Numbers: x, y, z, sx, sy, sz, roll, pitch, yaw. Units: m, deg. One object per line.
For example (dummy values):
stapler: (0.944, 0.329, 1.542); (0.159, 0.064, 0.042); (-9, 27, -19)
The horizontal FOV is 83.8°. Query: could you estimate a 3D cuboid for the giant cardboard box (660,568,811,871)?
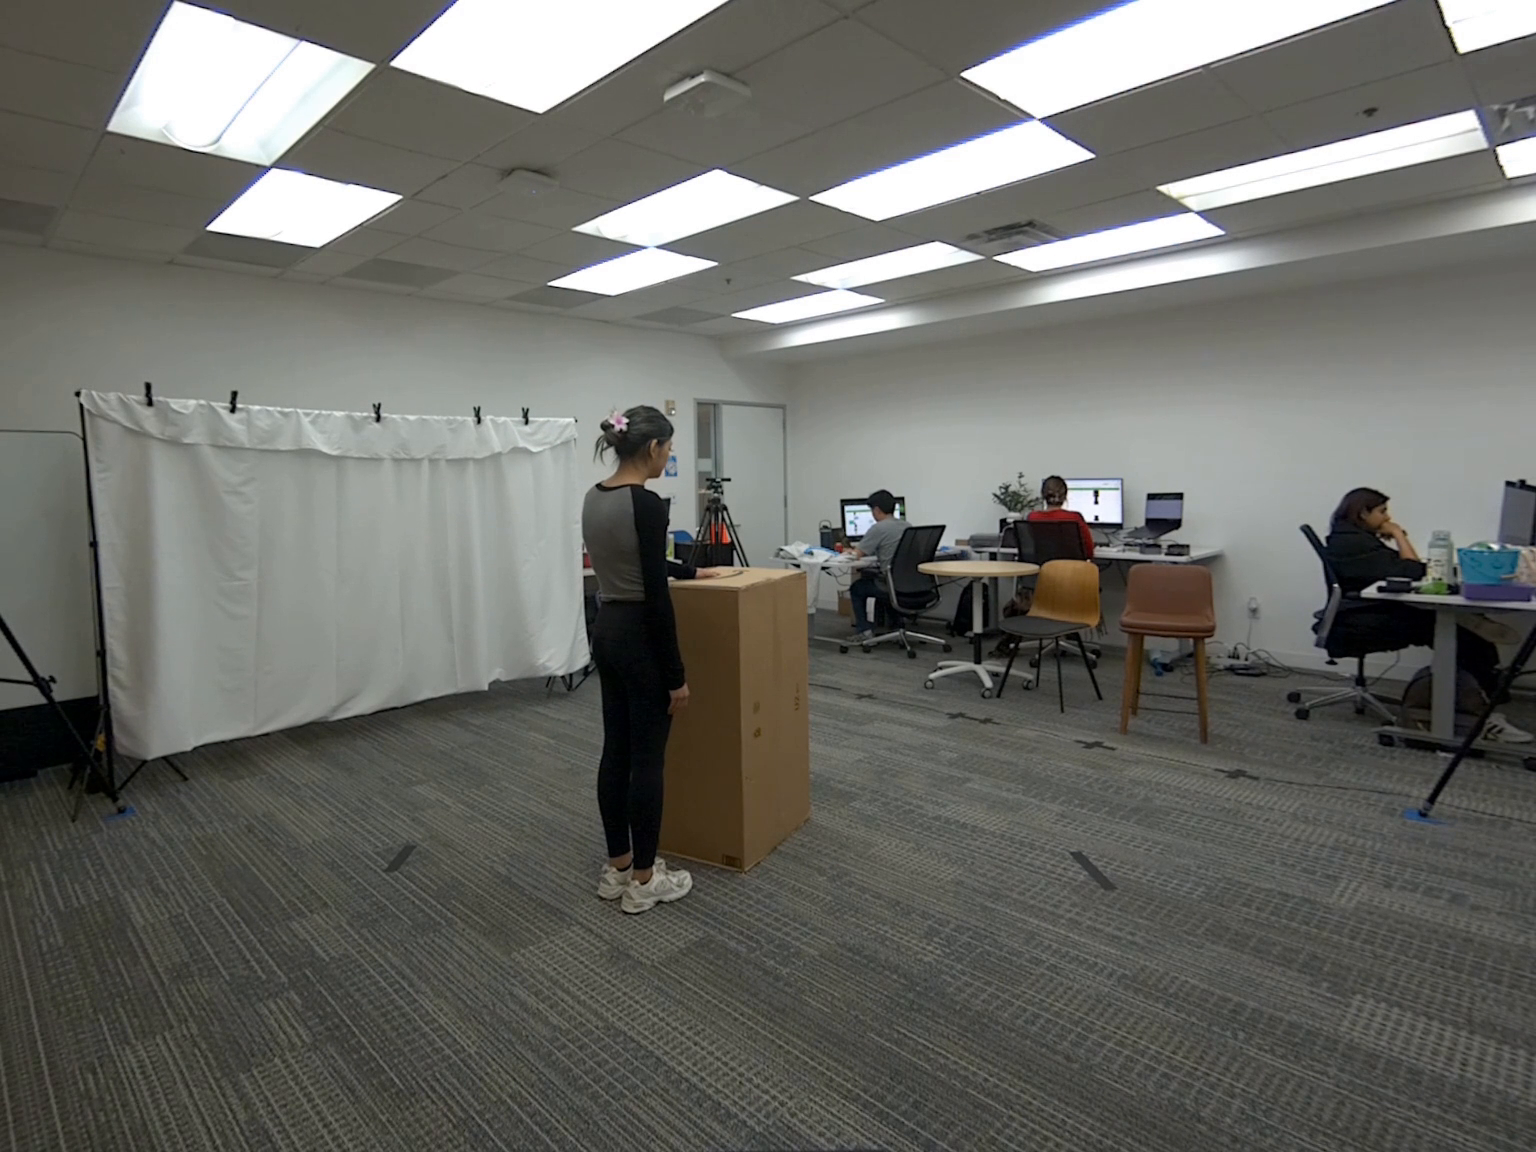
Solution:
giant cardboard box: (-0.150, 0.511, 3.342); (0.458, 1.023, 0.572); (2, 5, 27)
